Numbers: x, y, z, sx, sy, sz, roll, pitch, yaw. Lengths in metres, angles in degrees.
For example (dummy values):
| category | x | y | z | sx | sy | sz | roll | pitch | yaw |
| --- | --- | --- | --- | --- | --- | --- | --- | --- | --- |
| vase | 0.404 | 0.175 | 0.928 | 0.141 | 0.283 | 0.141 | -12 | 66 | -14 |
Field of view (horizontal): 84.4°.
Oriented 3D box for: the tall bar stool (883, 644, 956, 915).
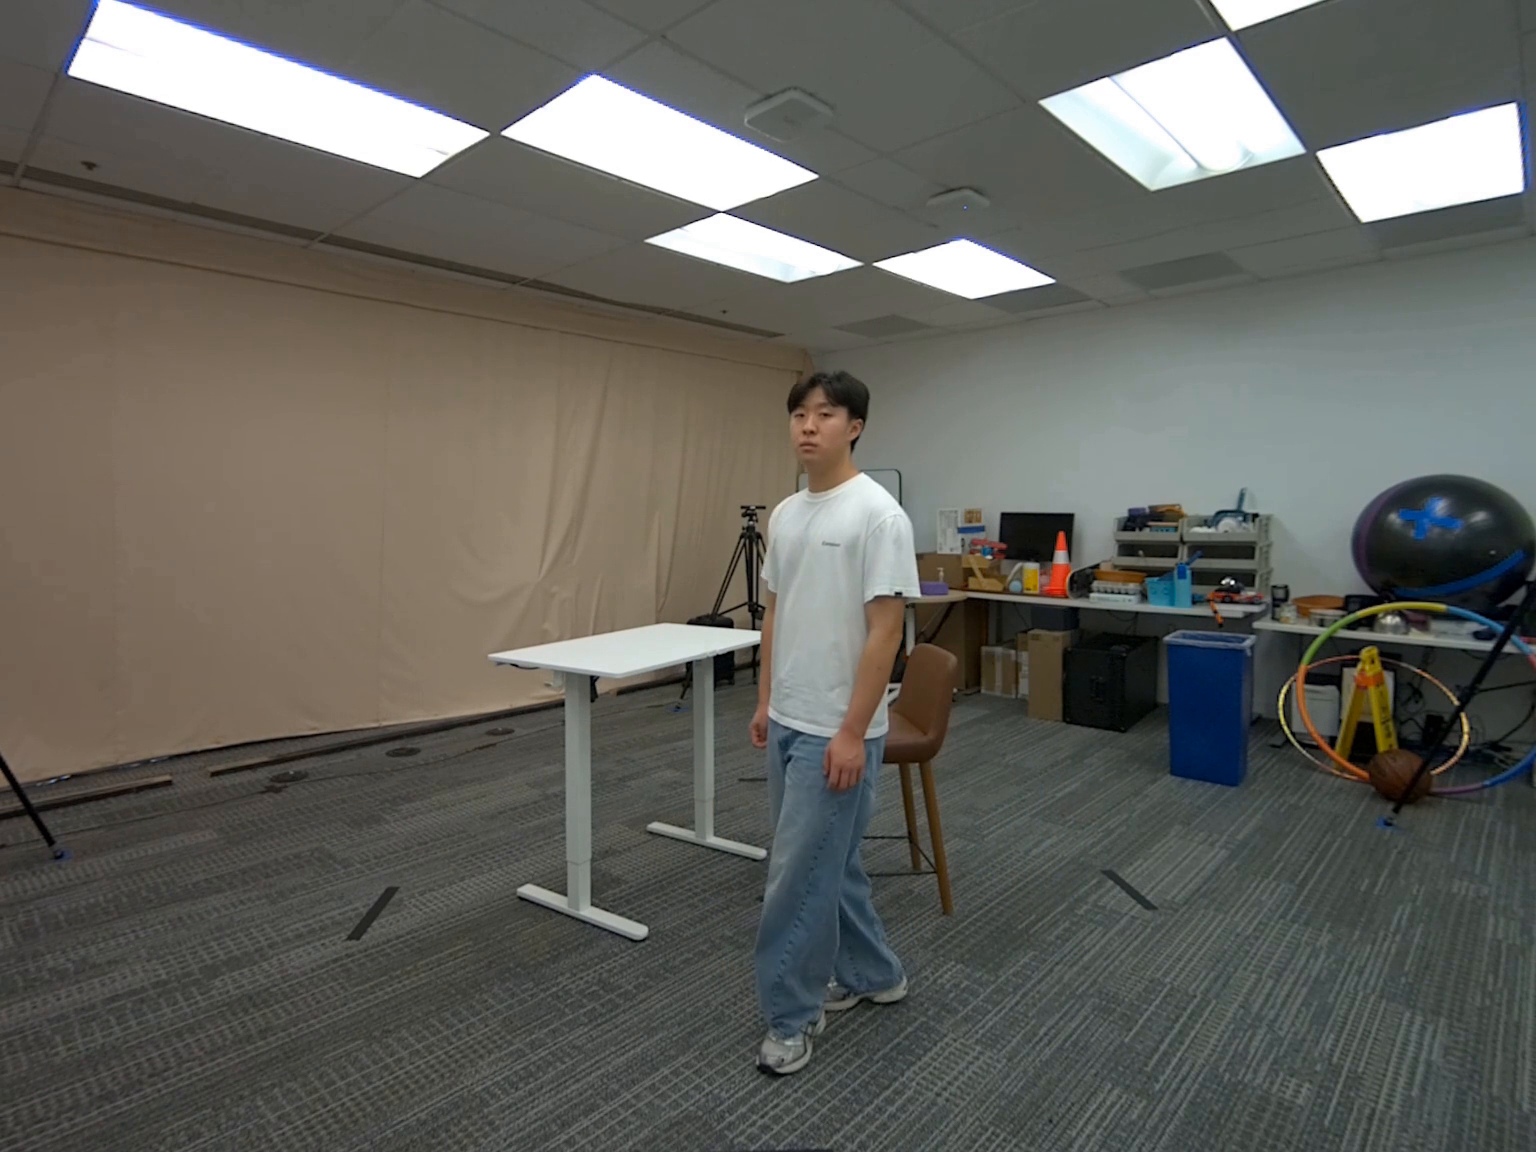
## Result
| category | x | y | z | sx | sy | sz | roll | pitch | yaw |
| --- | --- | --- | --- | --- | --- | --- | --- | --- | --- |
| tall bar stool | 0.397 | 0.707 | 2.997 | 0.464 | 0.888 | 0.461 | 2 | 4 | -7 |
